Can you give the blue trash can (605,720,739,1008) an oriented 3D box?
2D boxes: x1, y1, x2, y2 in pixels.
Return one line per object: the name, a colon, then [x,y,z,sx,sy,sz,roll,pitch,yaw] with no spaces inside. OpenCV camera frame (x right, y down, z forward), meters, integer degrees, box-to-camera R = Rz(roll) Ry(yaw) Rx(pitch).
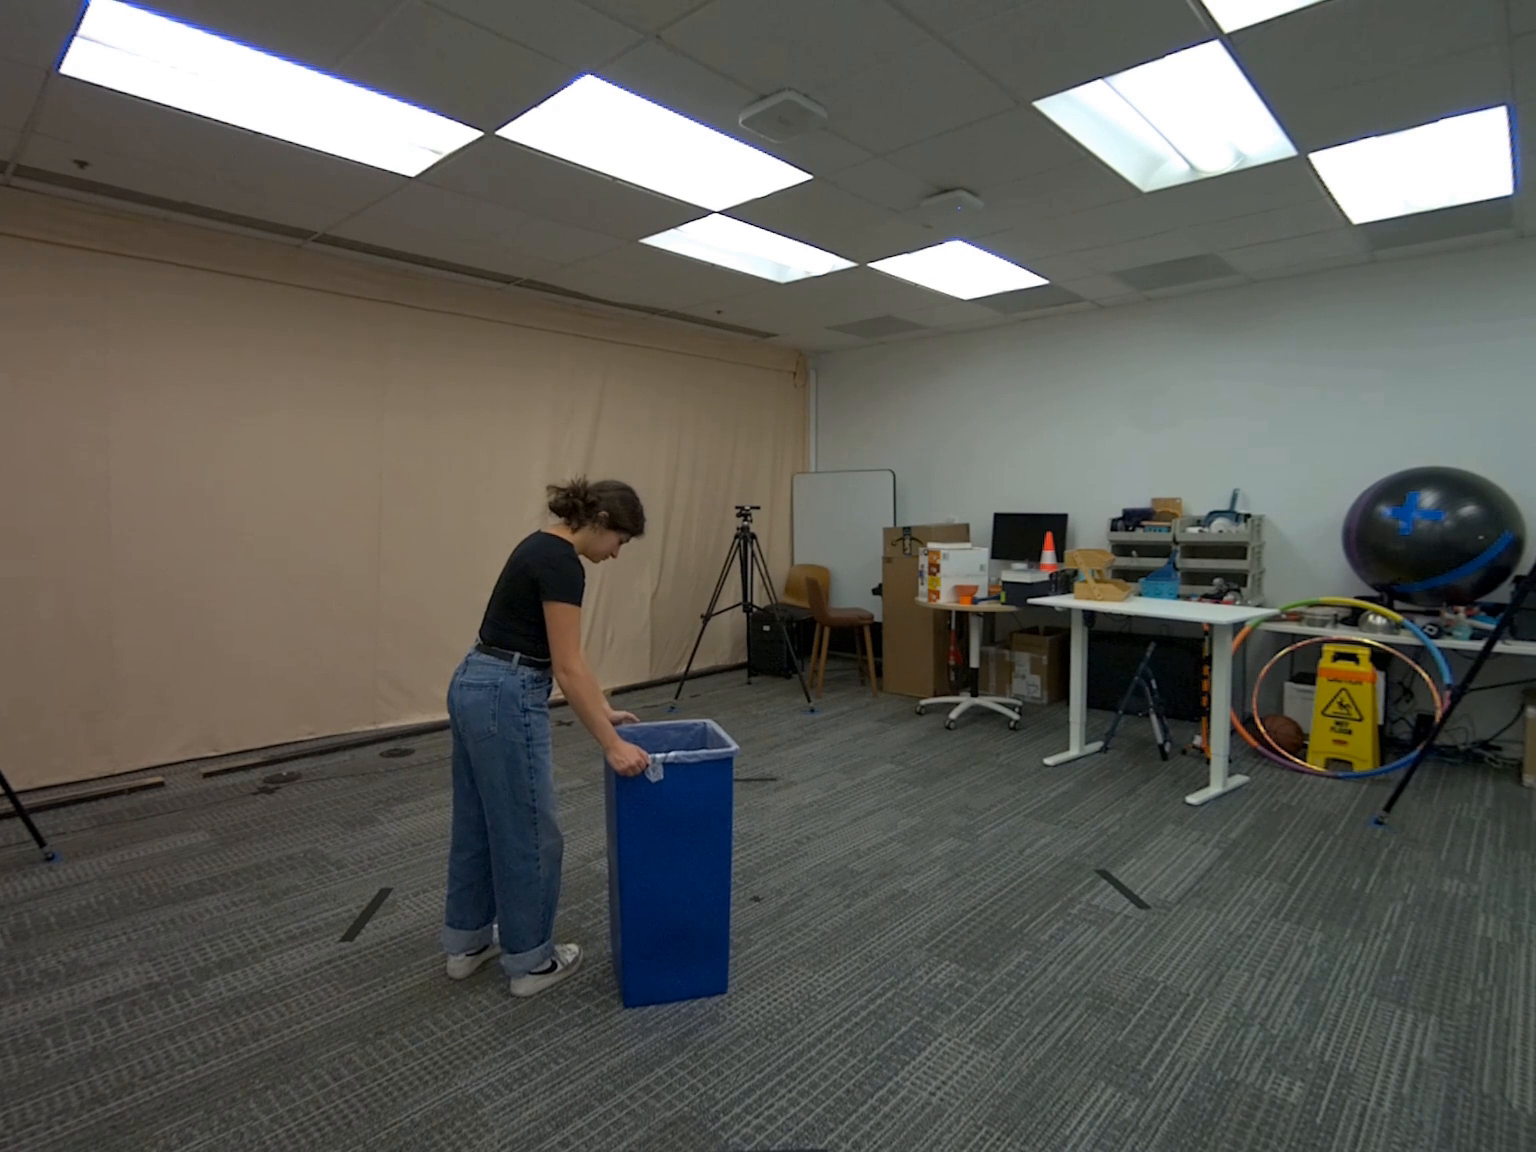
blue trash can: [-0.308,0.831,2.496,0.372,0.712,0.381,-1,4,-16]
